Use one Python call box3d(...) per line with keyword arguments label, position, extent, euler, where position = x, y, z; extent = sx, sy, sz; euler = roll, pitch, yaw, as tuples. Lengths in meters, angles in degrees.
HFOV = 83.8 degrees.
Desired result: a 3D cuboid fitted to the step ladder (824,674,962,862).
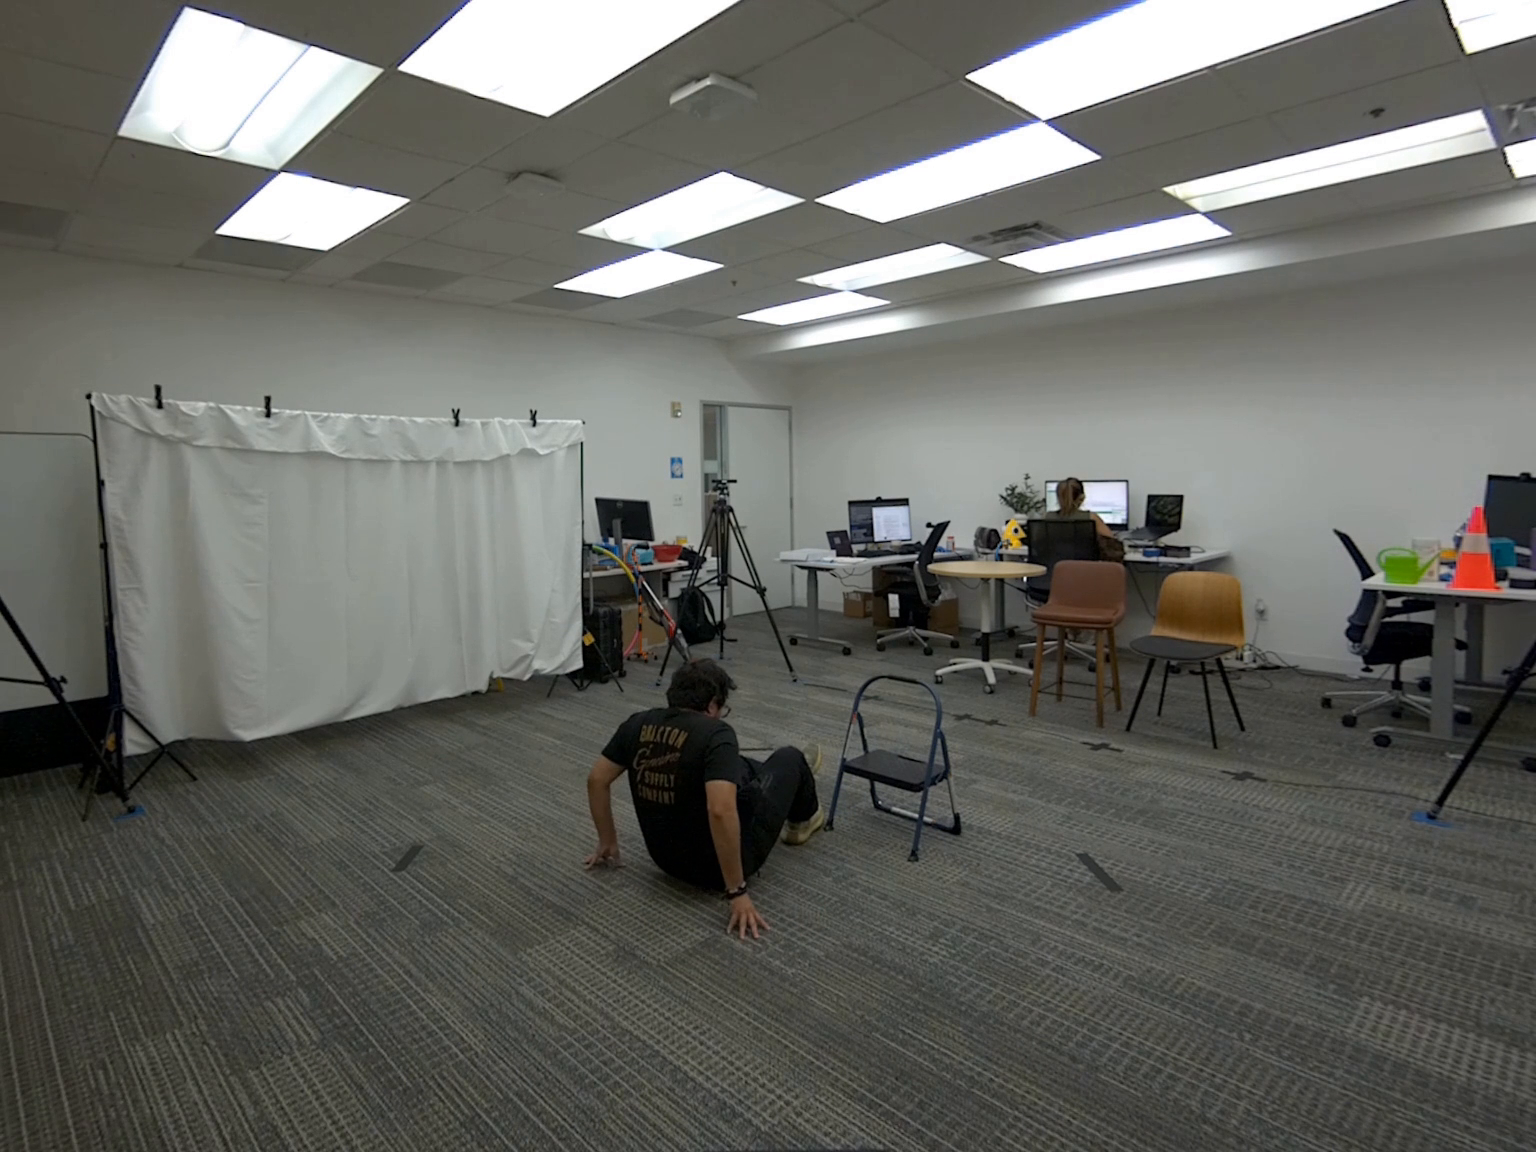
box3d(label="step ladder", position=(0.492, 0.707, 3.354), extent=(0.444, 0.604, 0.340), euler=(4, 6, 45))
